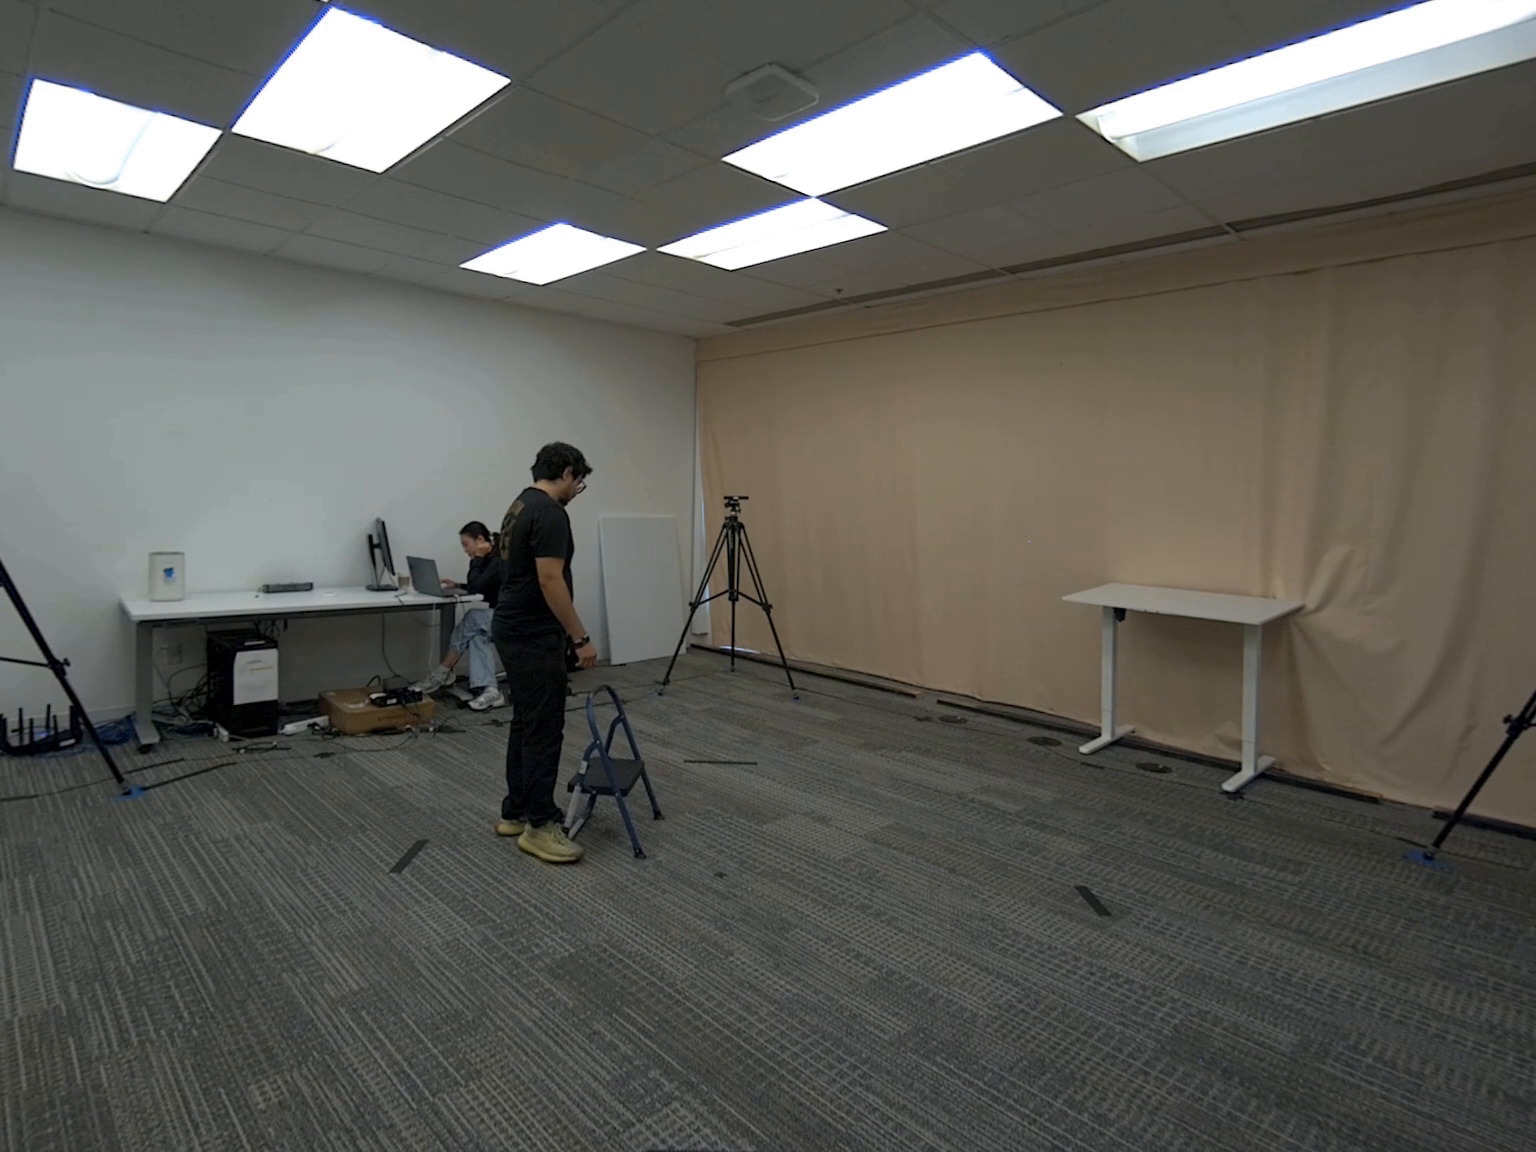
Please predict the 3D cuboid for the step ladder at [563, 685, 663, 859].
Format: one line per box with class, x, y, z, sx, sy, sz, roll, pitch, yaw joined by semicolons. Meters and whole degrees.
step ladder;-0.635;0.761;3.446;0.350;0.604;0.430;1;4;4
